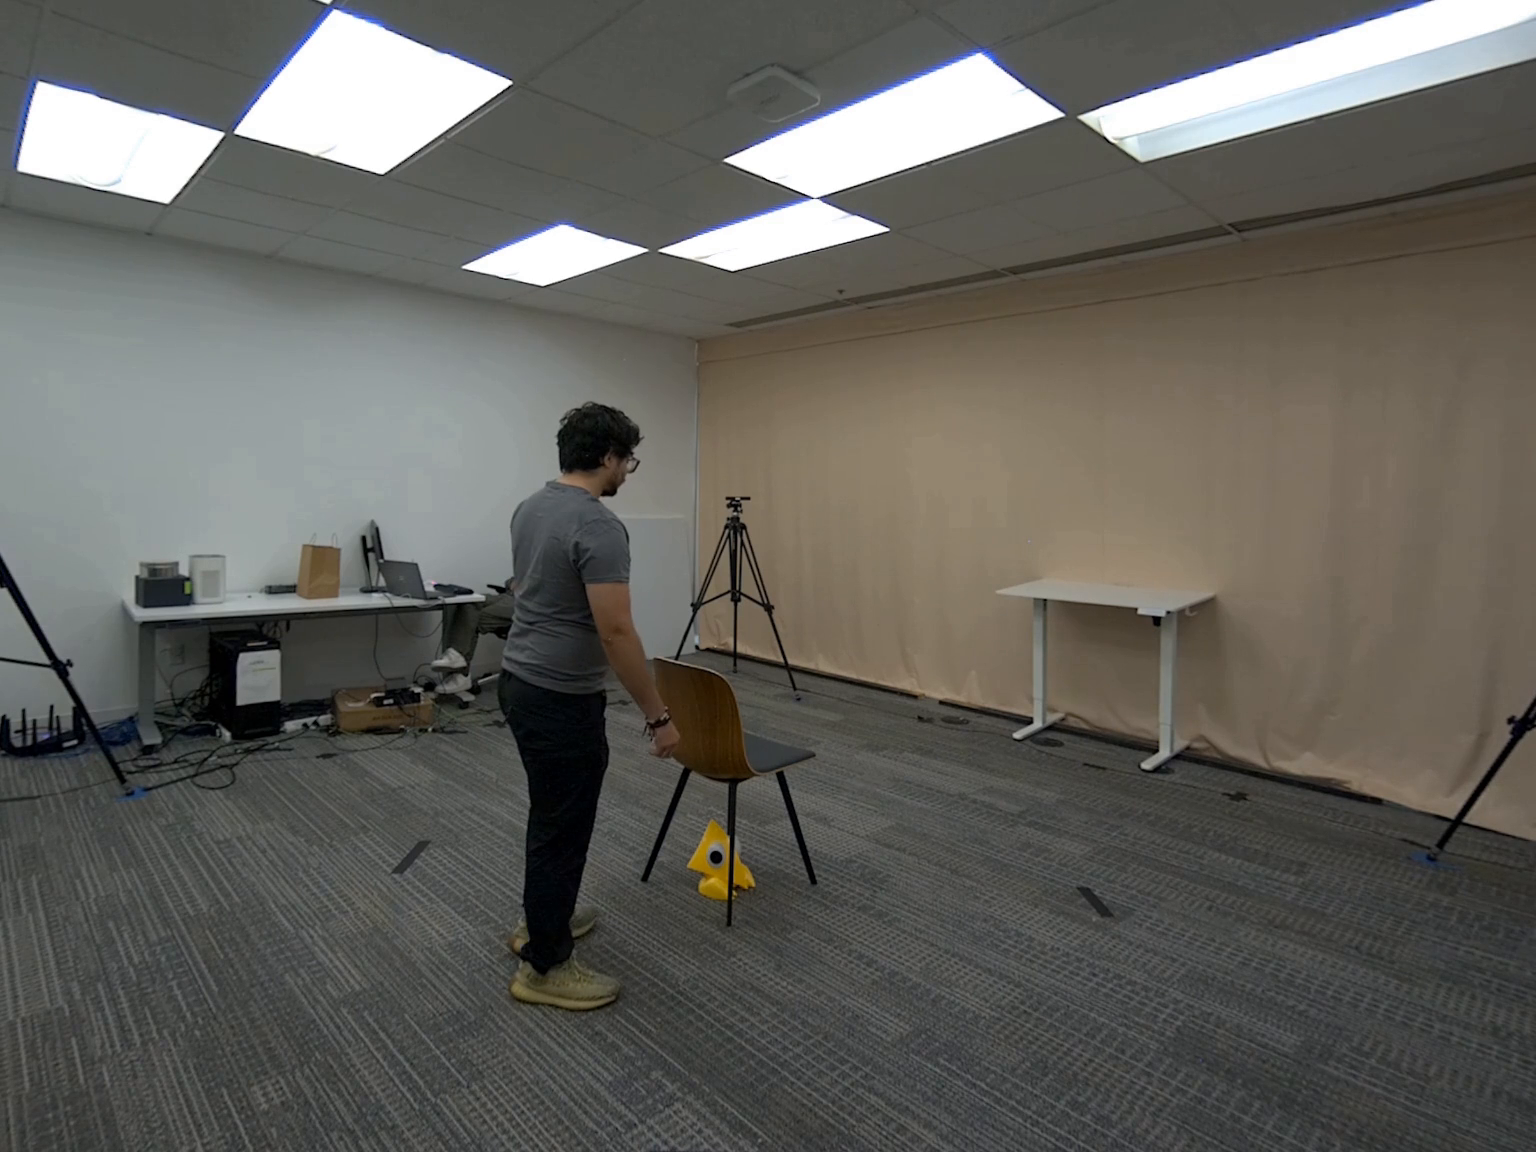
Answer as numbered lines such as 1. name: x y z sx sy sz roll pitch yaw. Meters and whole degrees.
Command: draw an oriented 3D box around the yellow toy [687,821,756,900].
1. yellow toy: -0.166 0.999 3.014 0.198 0.230 0.200 3 5 36
